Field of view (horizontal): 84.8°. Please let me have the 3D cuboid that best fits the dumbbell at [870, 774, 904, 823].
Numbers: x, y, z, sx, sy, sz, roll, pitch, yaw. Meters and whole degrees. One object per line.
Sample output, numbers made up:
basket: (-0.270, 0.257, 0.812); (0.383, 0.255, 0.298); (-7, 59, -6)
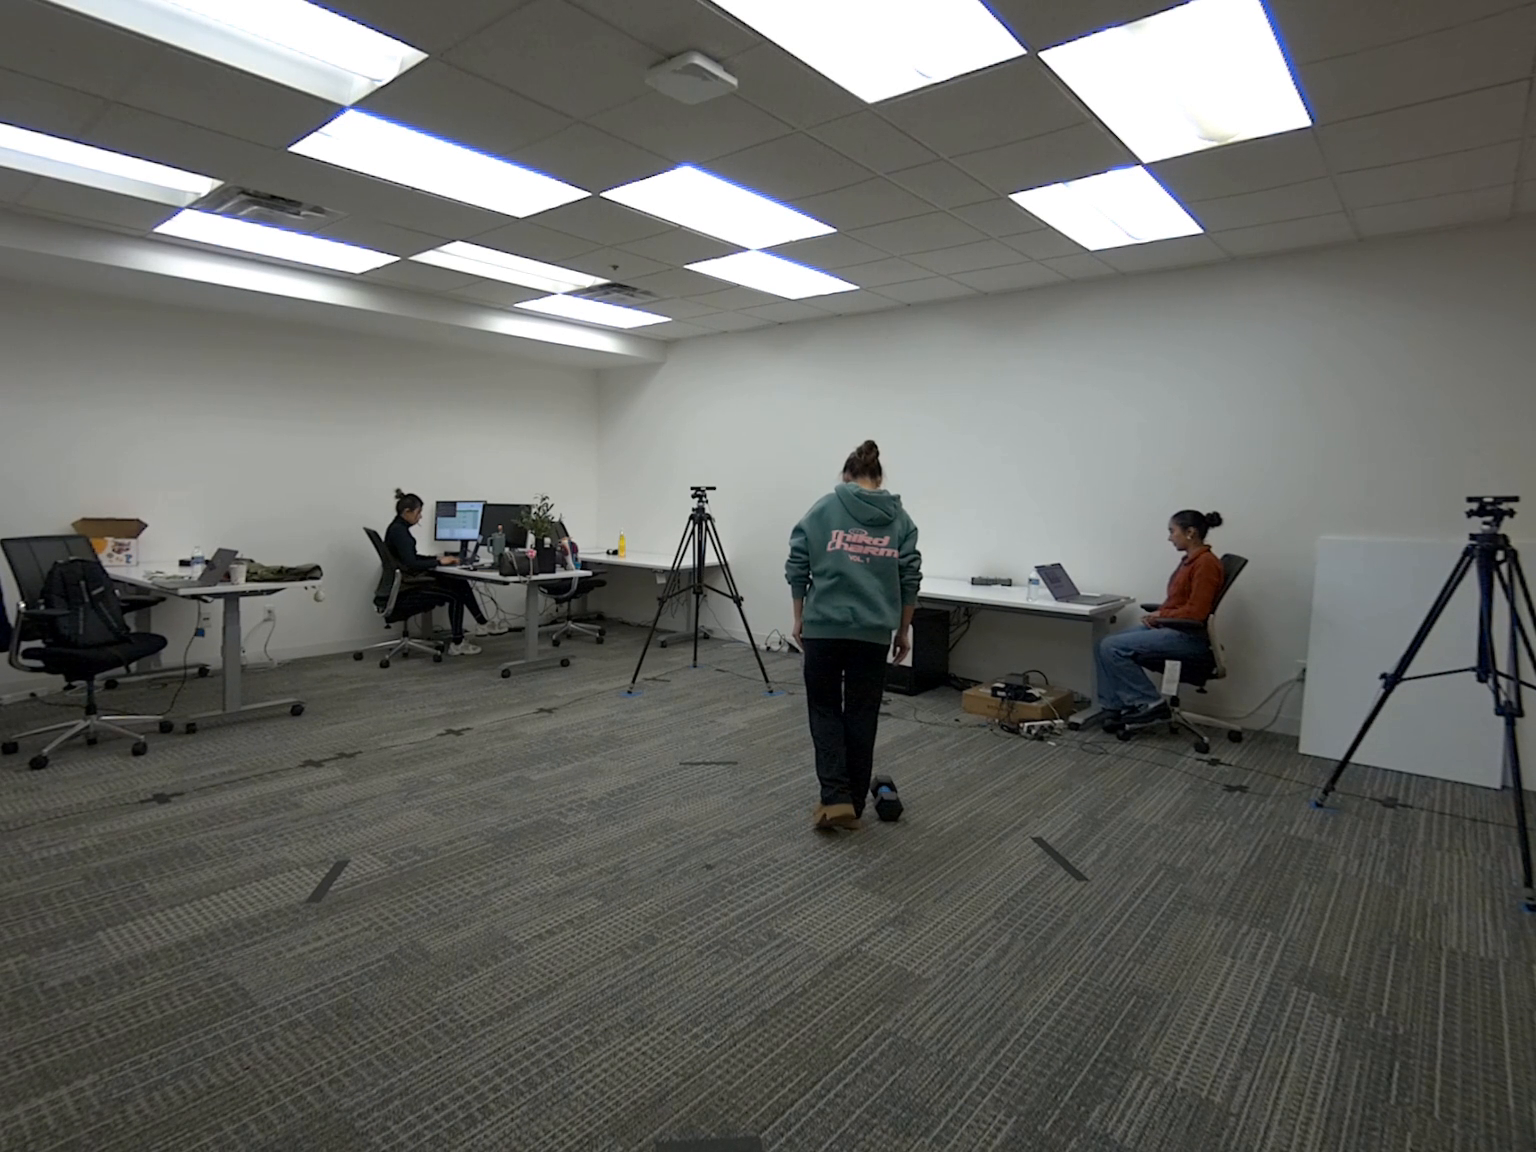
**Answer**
dumbbell: (0.509, 0.966, 3.724); (0.109, 0.123, 0.294); (28, 6, -2)
